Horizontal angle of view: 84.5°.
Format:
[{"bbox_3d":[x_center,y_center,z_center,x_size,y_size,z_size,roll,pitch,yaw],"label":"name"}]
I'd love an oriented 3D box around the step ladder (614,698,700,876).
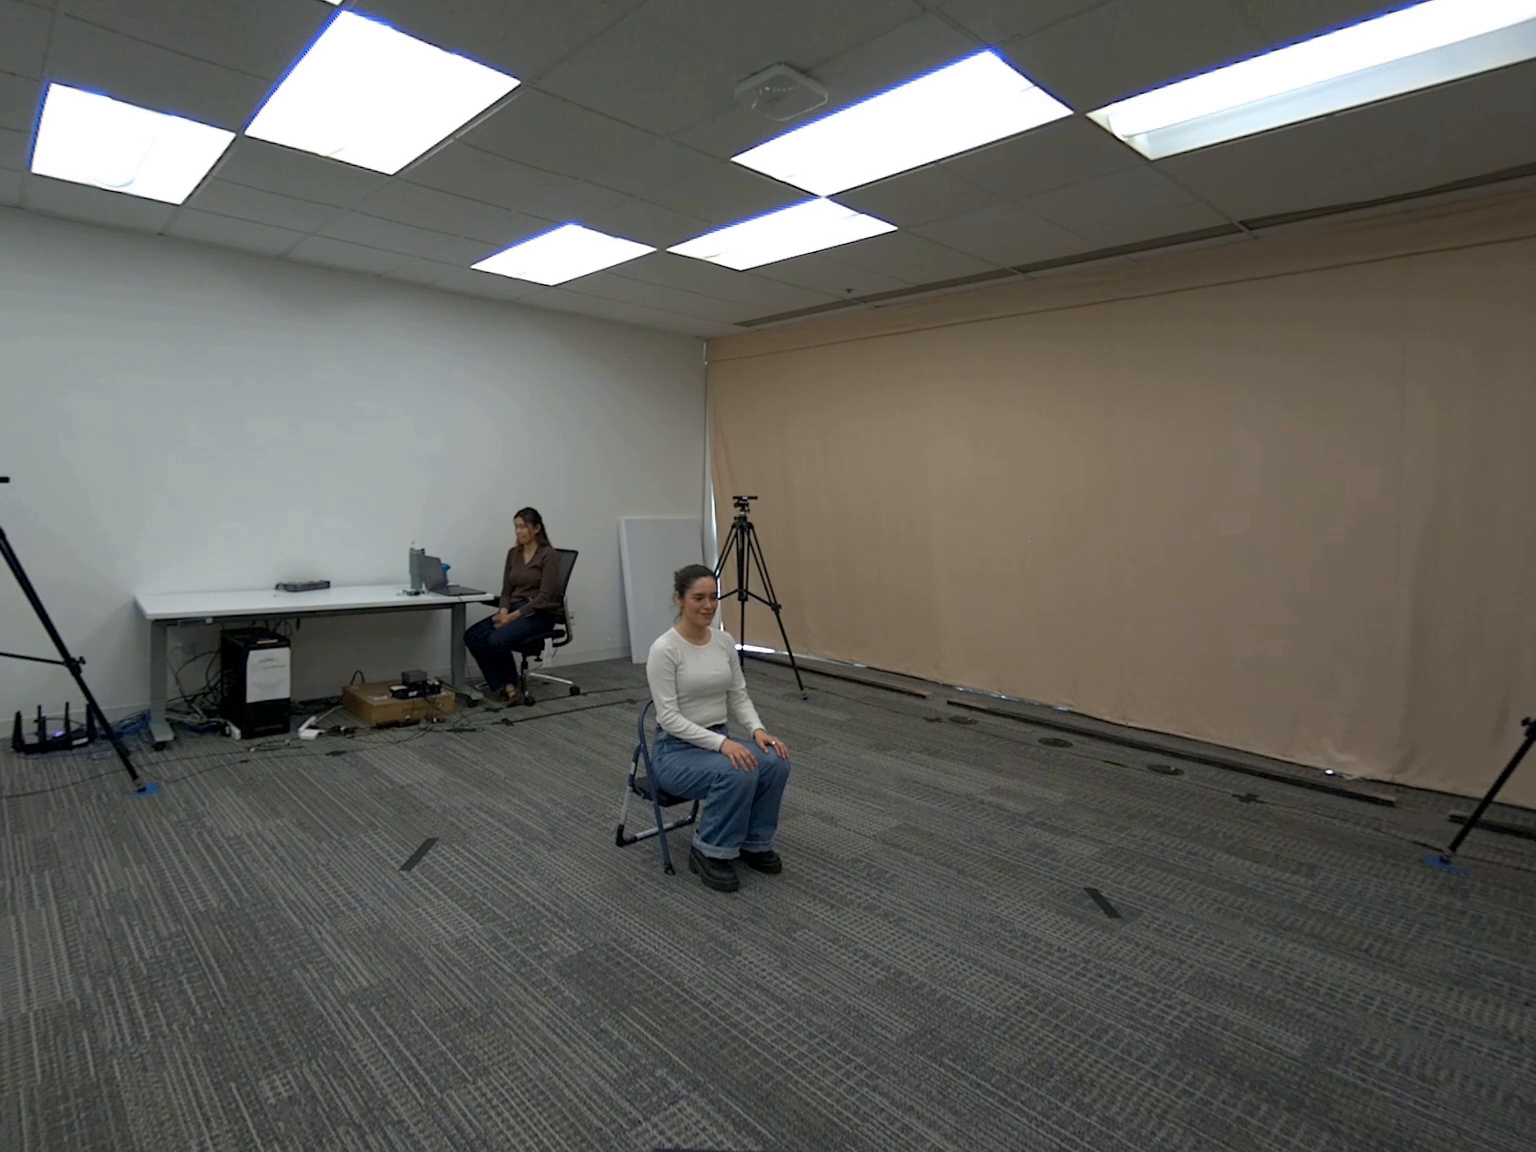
[{"bbox_3d":[-0.342,0.772,3.347,0.358,0.605,0.421,5,5,44],"label":"step ladder"}]
